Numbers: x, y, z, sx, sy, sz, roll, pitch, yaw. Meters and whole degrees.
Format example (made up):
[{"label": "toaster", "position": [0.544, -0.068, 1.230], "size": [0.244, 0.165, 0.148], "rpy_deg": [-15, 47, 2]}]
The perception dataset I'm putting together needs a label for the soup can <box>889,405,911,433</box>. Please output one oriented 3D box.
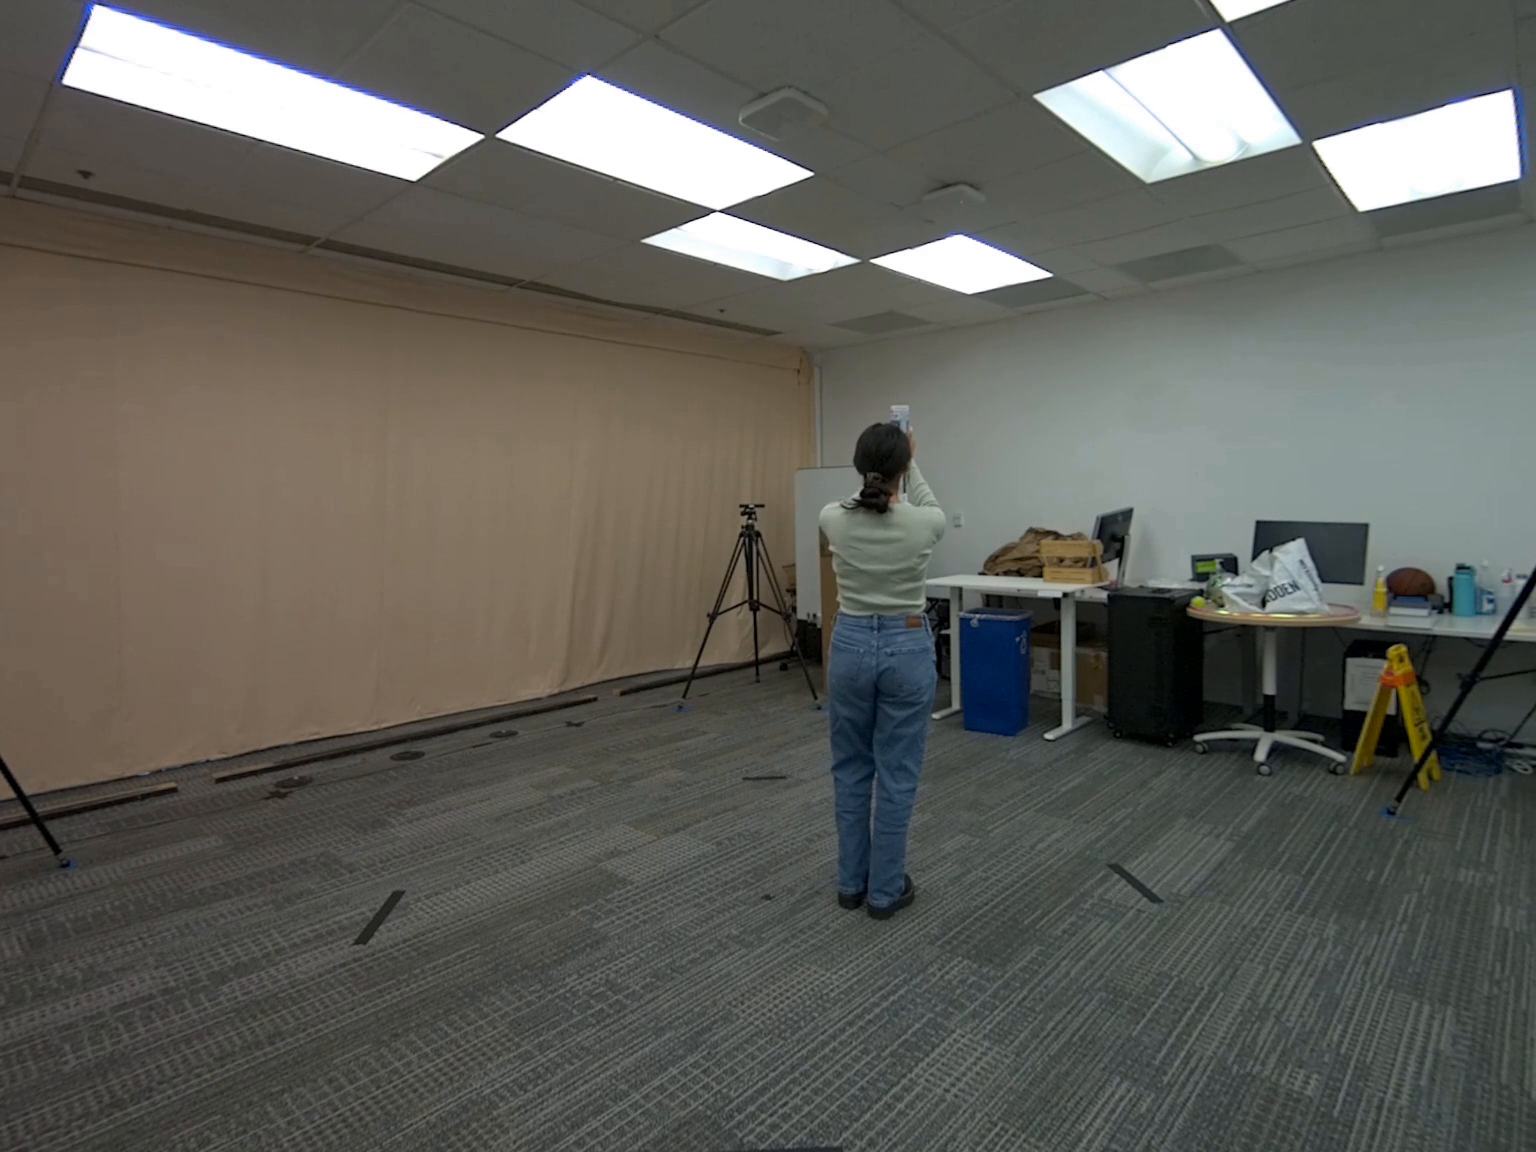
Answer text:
[{"label": "soup can", "position": [0.479, -0.566, 3.121], "size": [0.067, 0.121, 0.067], "rpy_deg": [-1, 9, -2]}]
